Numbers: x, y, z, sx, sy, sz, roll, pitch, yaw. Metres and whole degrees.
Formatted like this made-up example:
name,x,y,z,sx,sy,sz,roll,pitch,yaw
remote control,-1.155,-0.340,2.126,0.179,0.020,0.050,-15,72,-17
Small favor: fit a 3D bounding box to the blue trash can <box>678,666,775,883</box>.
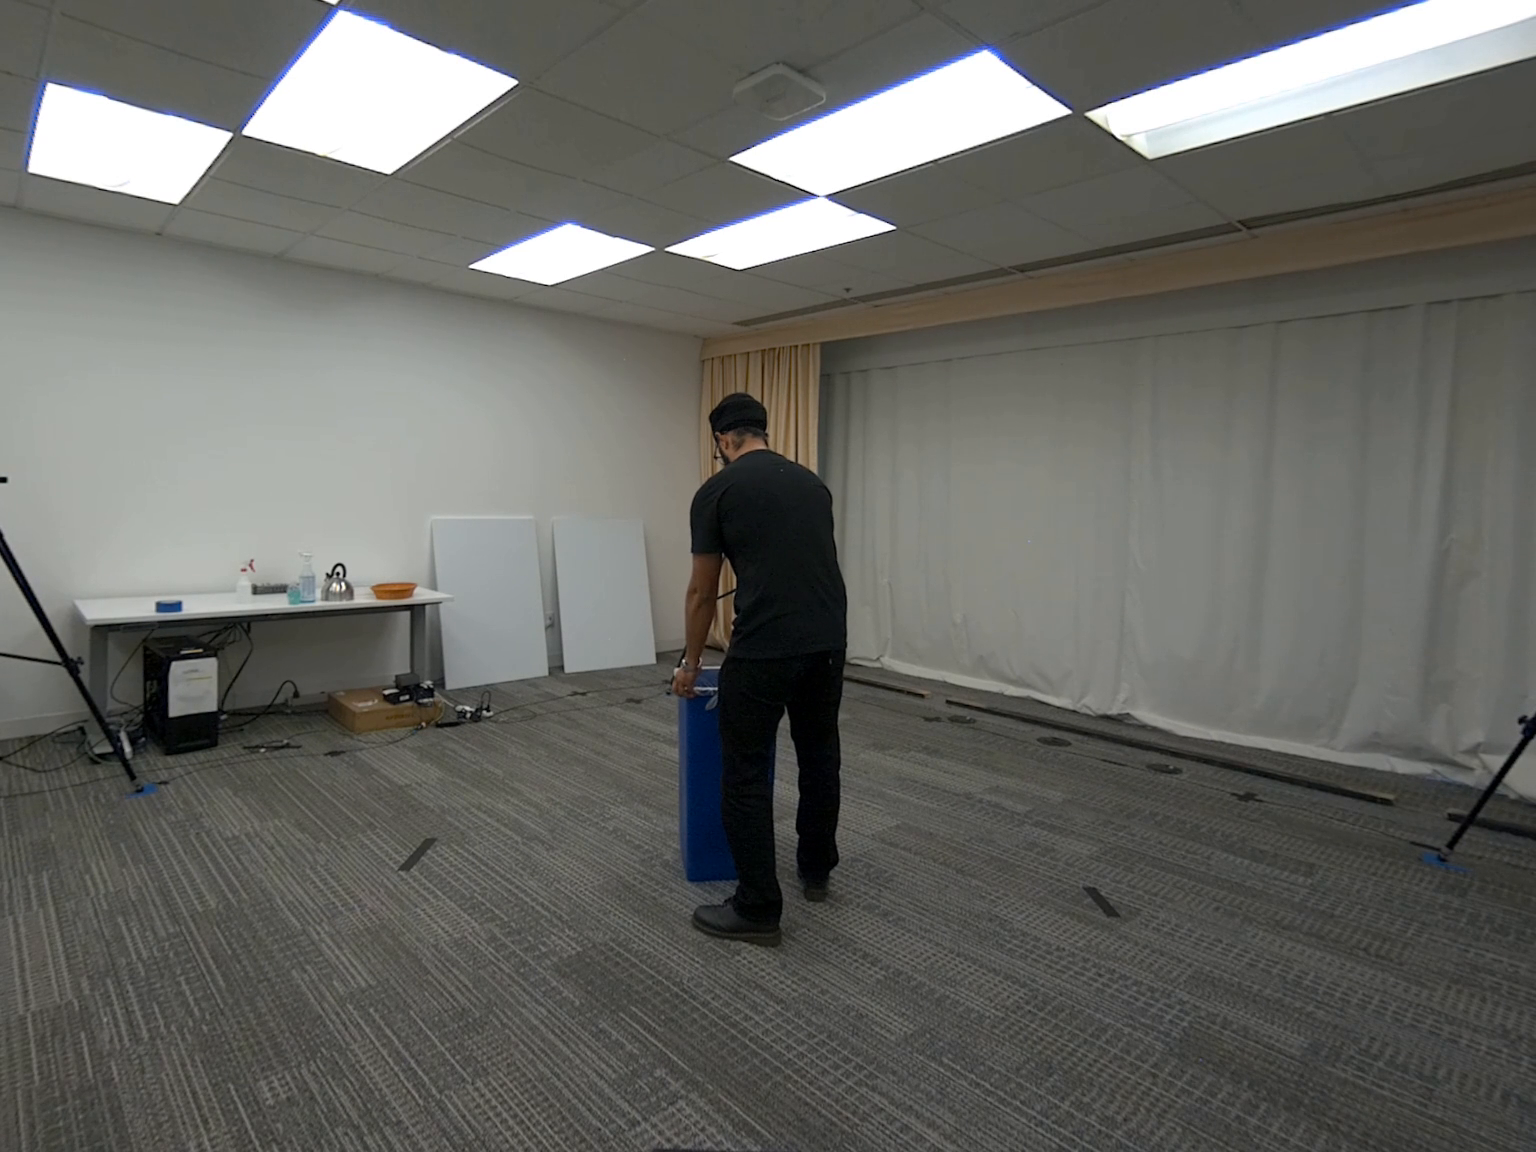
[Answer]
name,x,y,z,sx,sy,sz,roll,pitch,yaw
blue trash can,-0.159,0.735,3.172,0.375,0.711,0.378,1,4,-11
